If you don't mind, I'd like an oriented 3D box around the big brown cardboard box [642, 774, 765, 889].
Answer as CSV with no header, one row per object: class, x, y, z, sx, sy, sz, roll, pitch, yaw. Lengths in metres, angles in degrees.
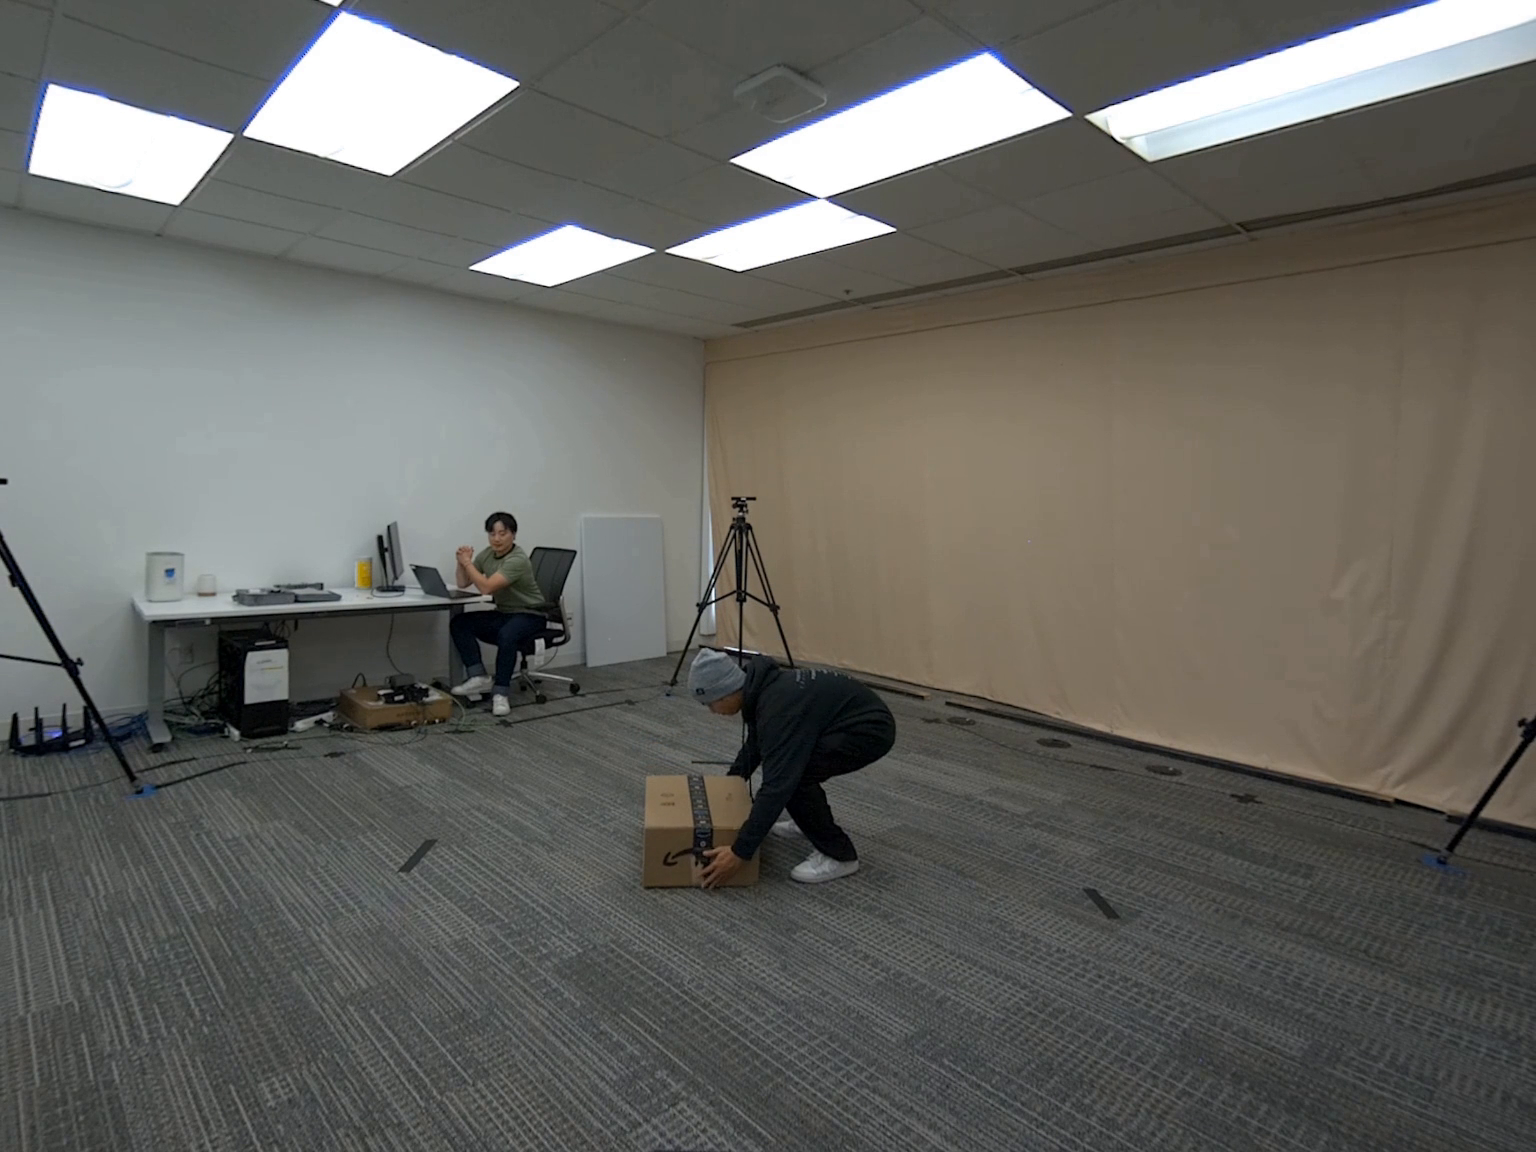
big brown cardboard box,-0.282,0.977,3.275,0.415,0.232,0.593,2,4,-7
